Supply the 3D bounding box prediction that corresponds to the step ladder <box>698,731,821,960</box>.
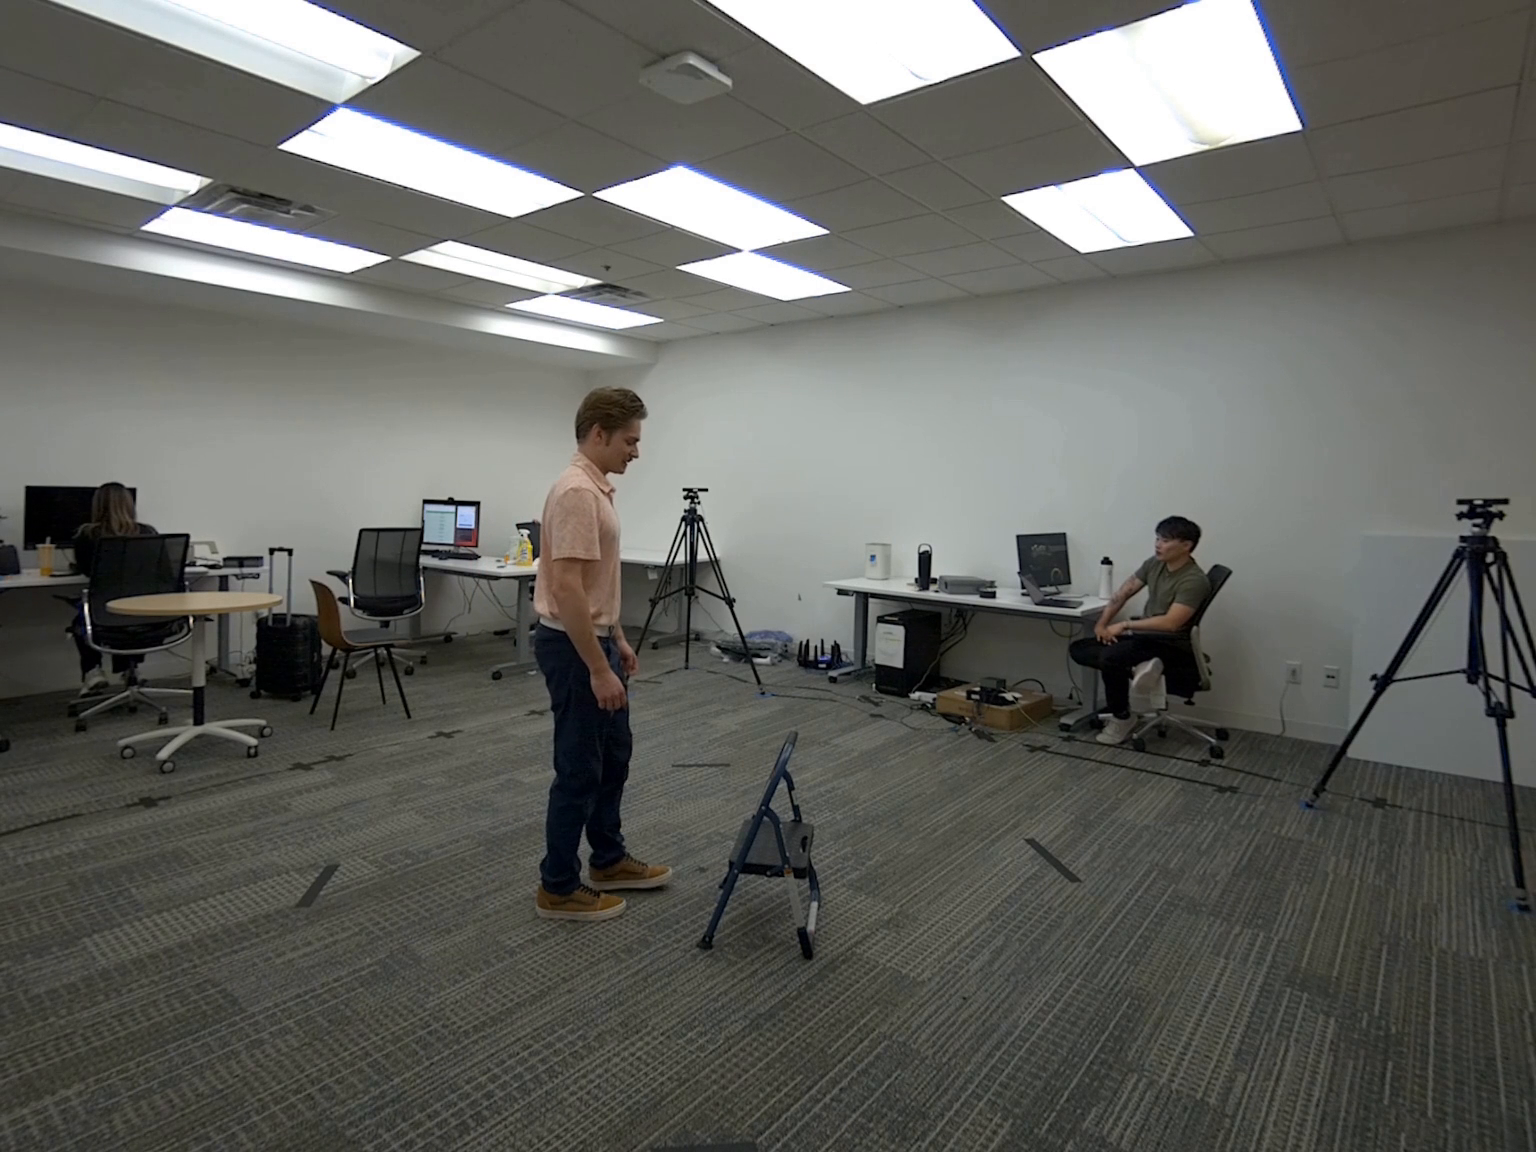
[{"bbox_3d":[-0.008,0.810,2.727,0.353,0.604,0.428,2,4,8],"label":"step ladder"}]
